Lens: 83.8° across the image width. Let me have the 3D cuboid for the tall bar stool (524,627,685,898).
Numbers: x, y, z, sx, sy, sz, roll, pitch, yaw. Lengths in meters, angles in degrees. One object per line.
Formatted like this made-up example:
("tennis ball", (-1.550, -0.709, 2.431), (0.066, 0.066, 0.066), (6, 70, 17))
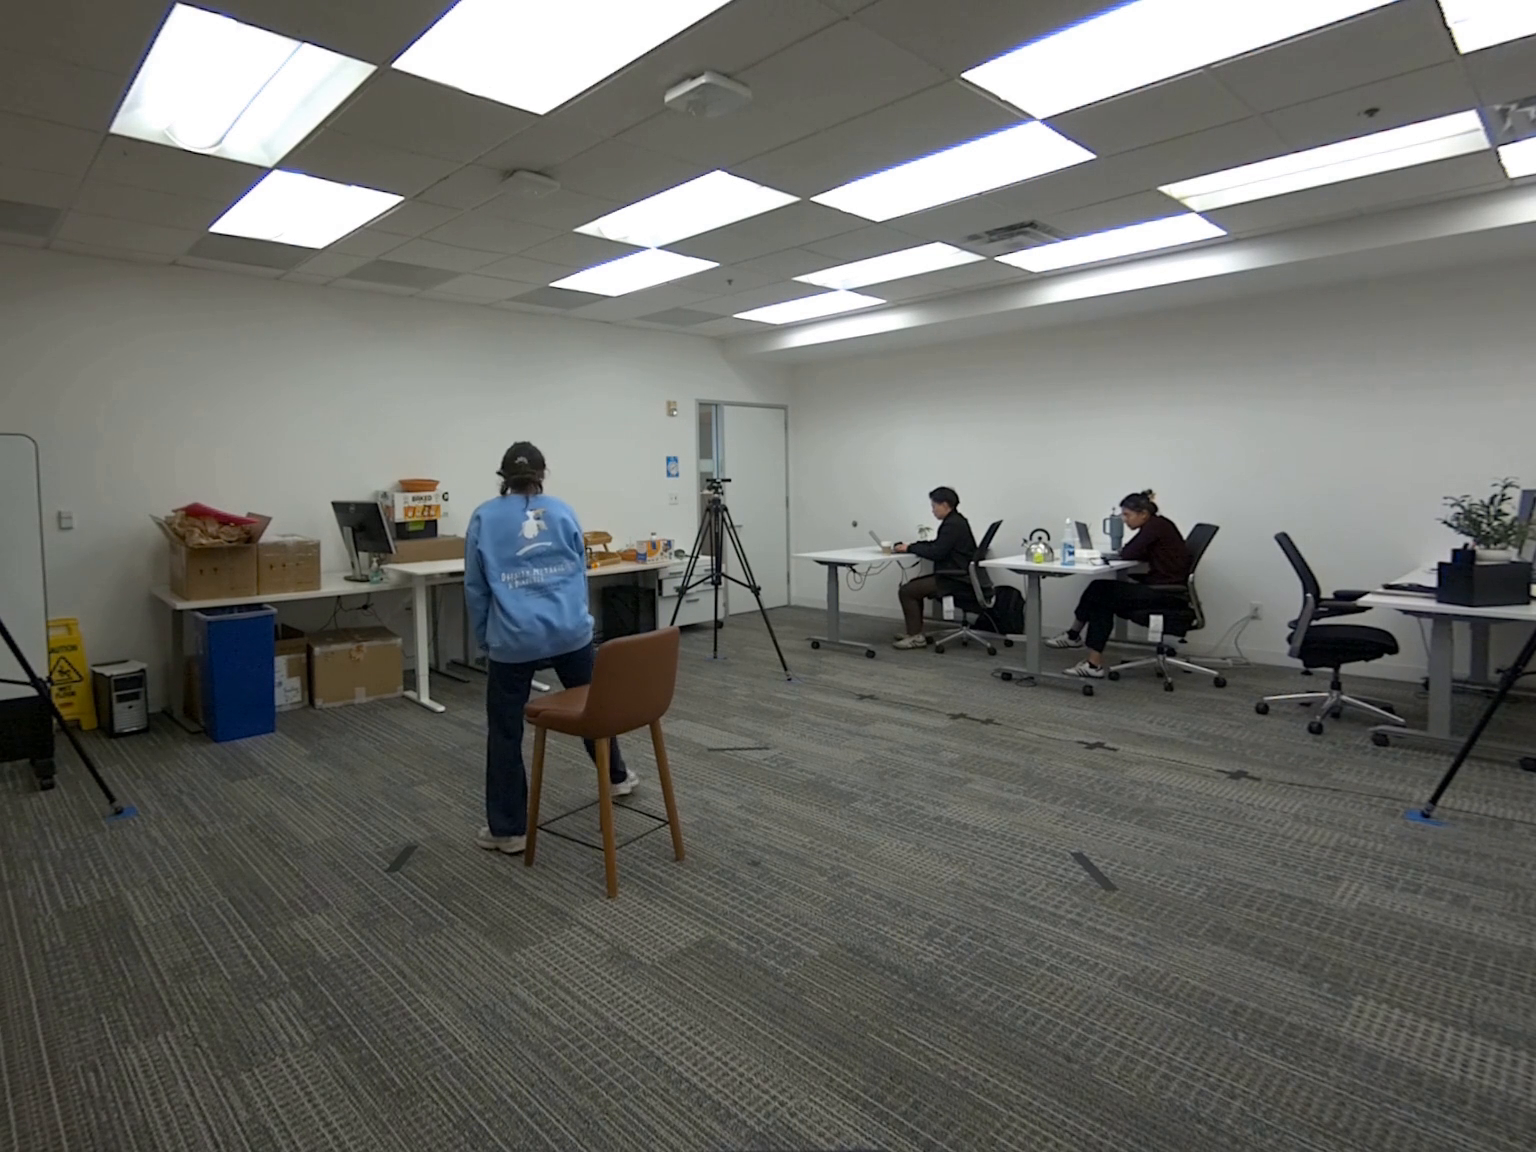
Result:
("tall bar stool", (-0.603, 0.618, 3.115), (0.481, 0.886, 0.445), (3, 6, 37))
